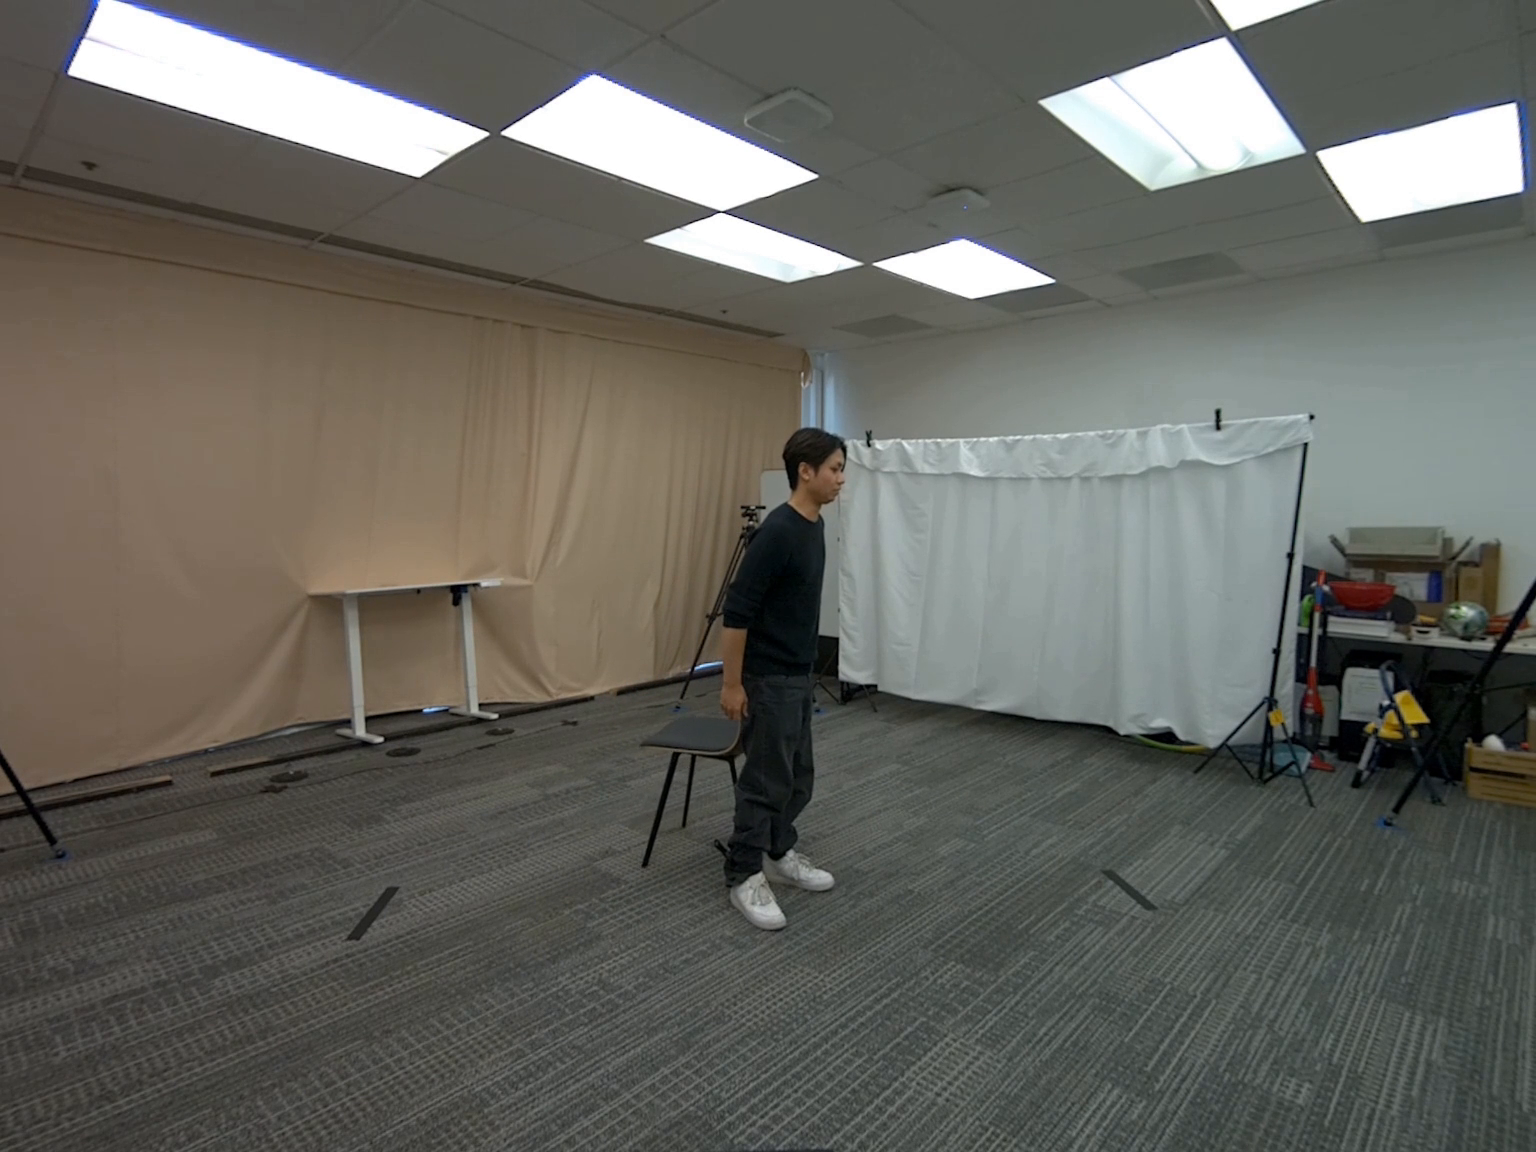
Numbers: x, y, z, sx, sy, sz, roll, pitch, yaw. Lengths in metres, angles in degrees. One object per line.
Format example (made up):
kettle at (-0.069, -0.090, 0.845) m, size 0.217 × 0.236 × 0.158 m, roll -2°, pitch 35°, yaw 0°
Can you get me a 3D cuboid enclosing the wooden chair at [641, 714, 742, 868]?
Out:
wooden chair at (-0.220, 0.684, 3.360) m, size 0.533 × 0.875 × 0.470 m, roll 5°, pitch 5°, yaw 16°
